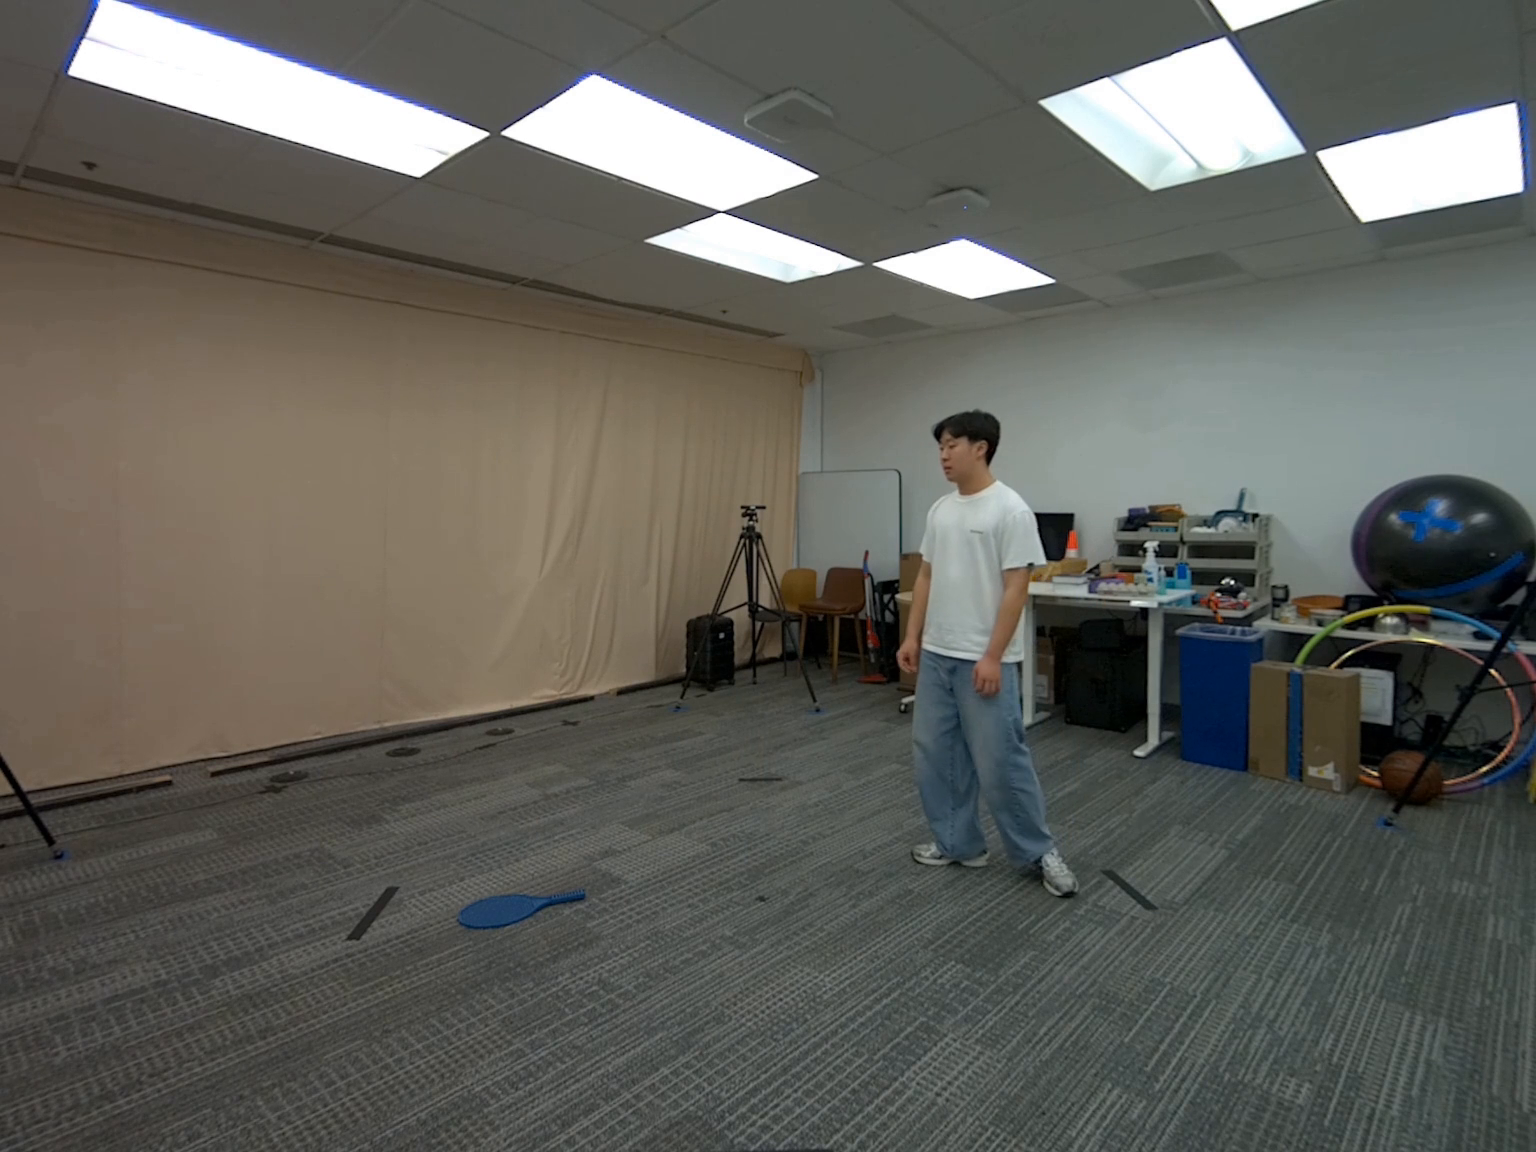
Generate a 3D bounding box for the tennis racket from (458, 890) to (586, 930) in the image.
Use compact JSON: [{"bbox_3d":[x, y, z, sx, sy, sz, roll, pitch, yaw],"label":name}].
[{"bbox_3d":[-0.846,1.139,2.914,0.425,0.031,0.218,-4,5,-19],"label":"tennis racket"}]
